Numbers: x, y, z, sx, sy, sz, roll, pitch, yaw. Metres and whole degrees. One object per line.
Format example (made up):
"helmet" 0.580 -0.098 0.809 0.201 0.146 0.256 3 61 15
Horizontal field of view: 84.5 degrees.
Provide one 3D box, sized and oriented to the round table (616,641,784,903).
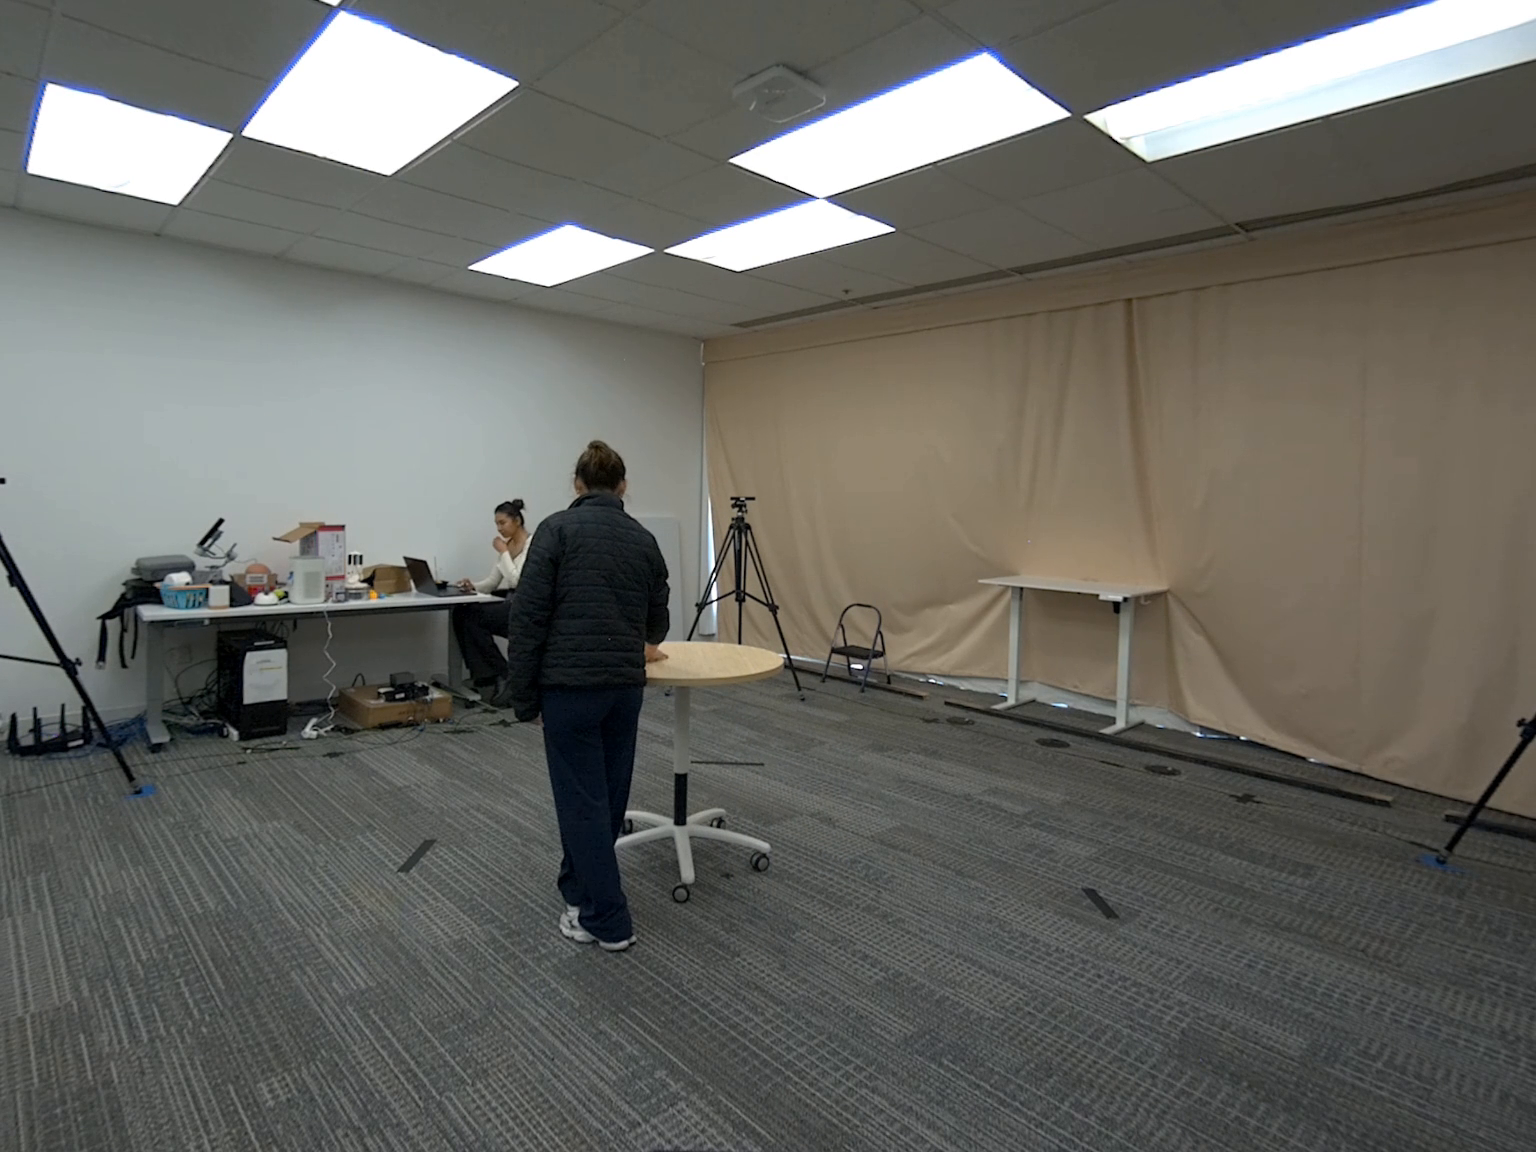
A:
"round table" -0.325 0.699 3.212 0.784 0.784 0.787 1 4 -1
